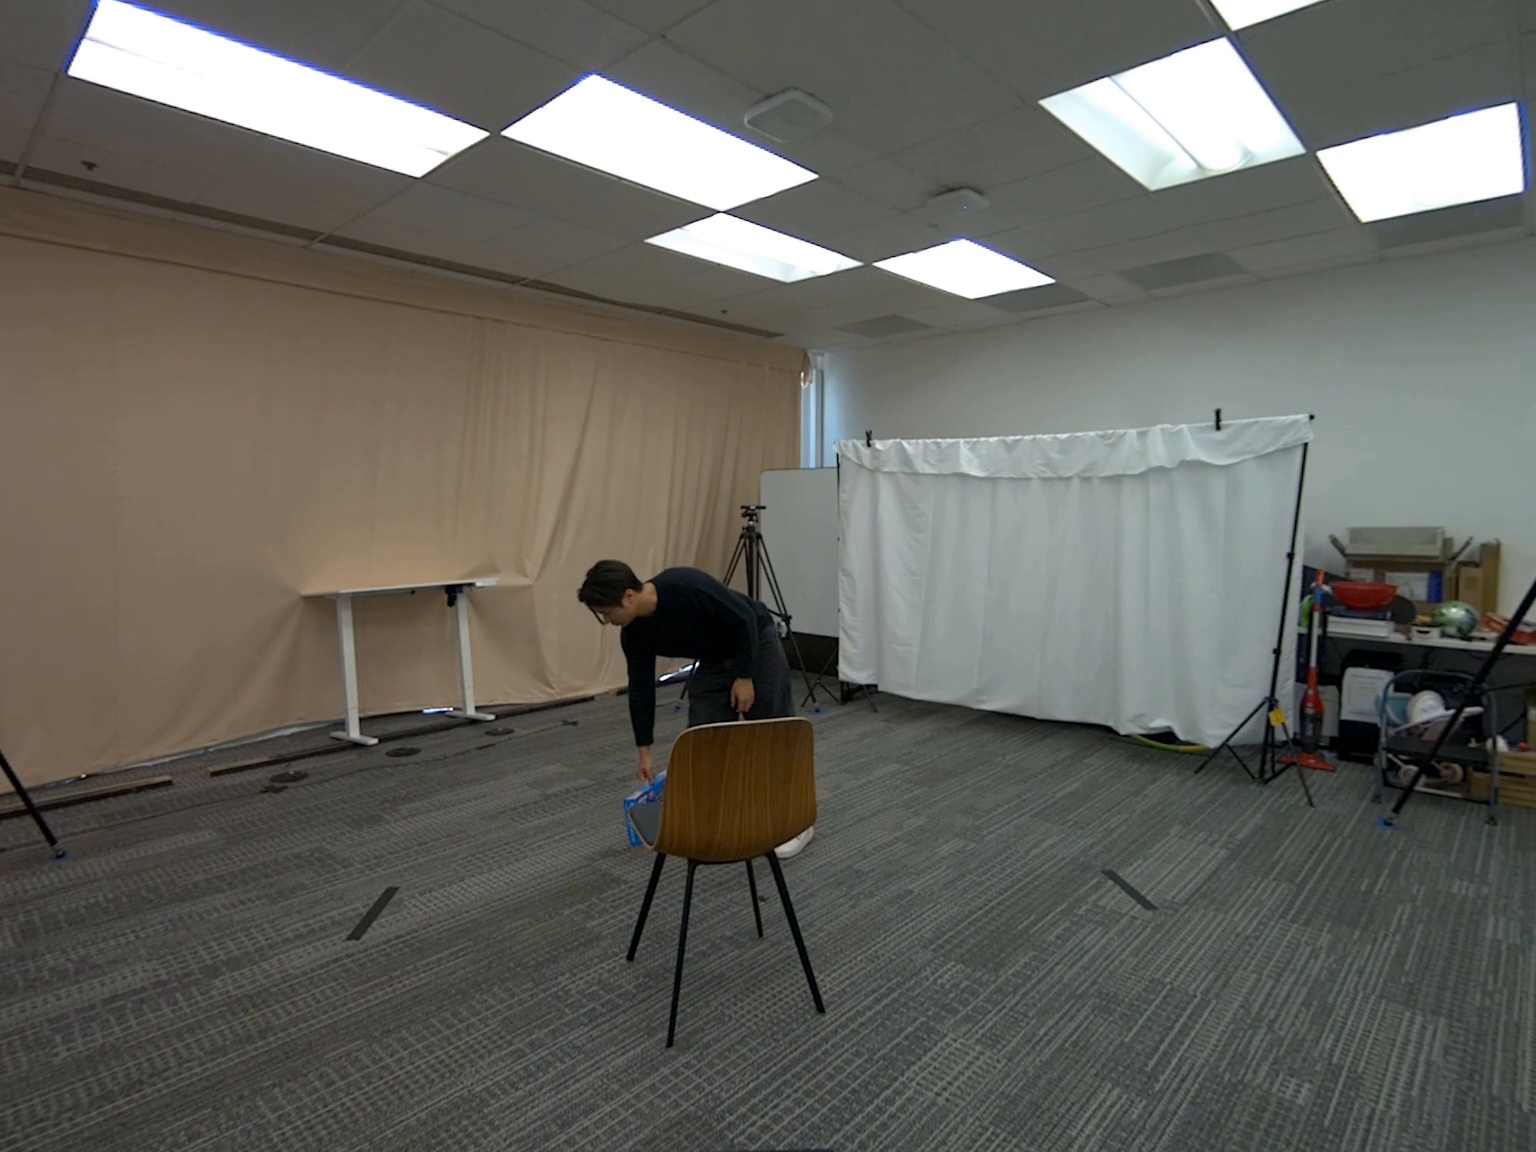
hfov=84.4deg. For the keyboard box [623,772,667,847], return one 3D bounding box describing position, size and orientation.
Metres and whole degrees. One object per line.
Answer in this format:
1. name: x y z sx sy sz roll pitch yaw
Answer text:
1. keyboard box: -0.461 0.931 3.423 0.060 0.176 0.429 -8 1 15
